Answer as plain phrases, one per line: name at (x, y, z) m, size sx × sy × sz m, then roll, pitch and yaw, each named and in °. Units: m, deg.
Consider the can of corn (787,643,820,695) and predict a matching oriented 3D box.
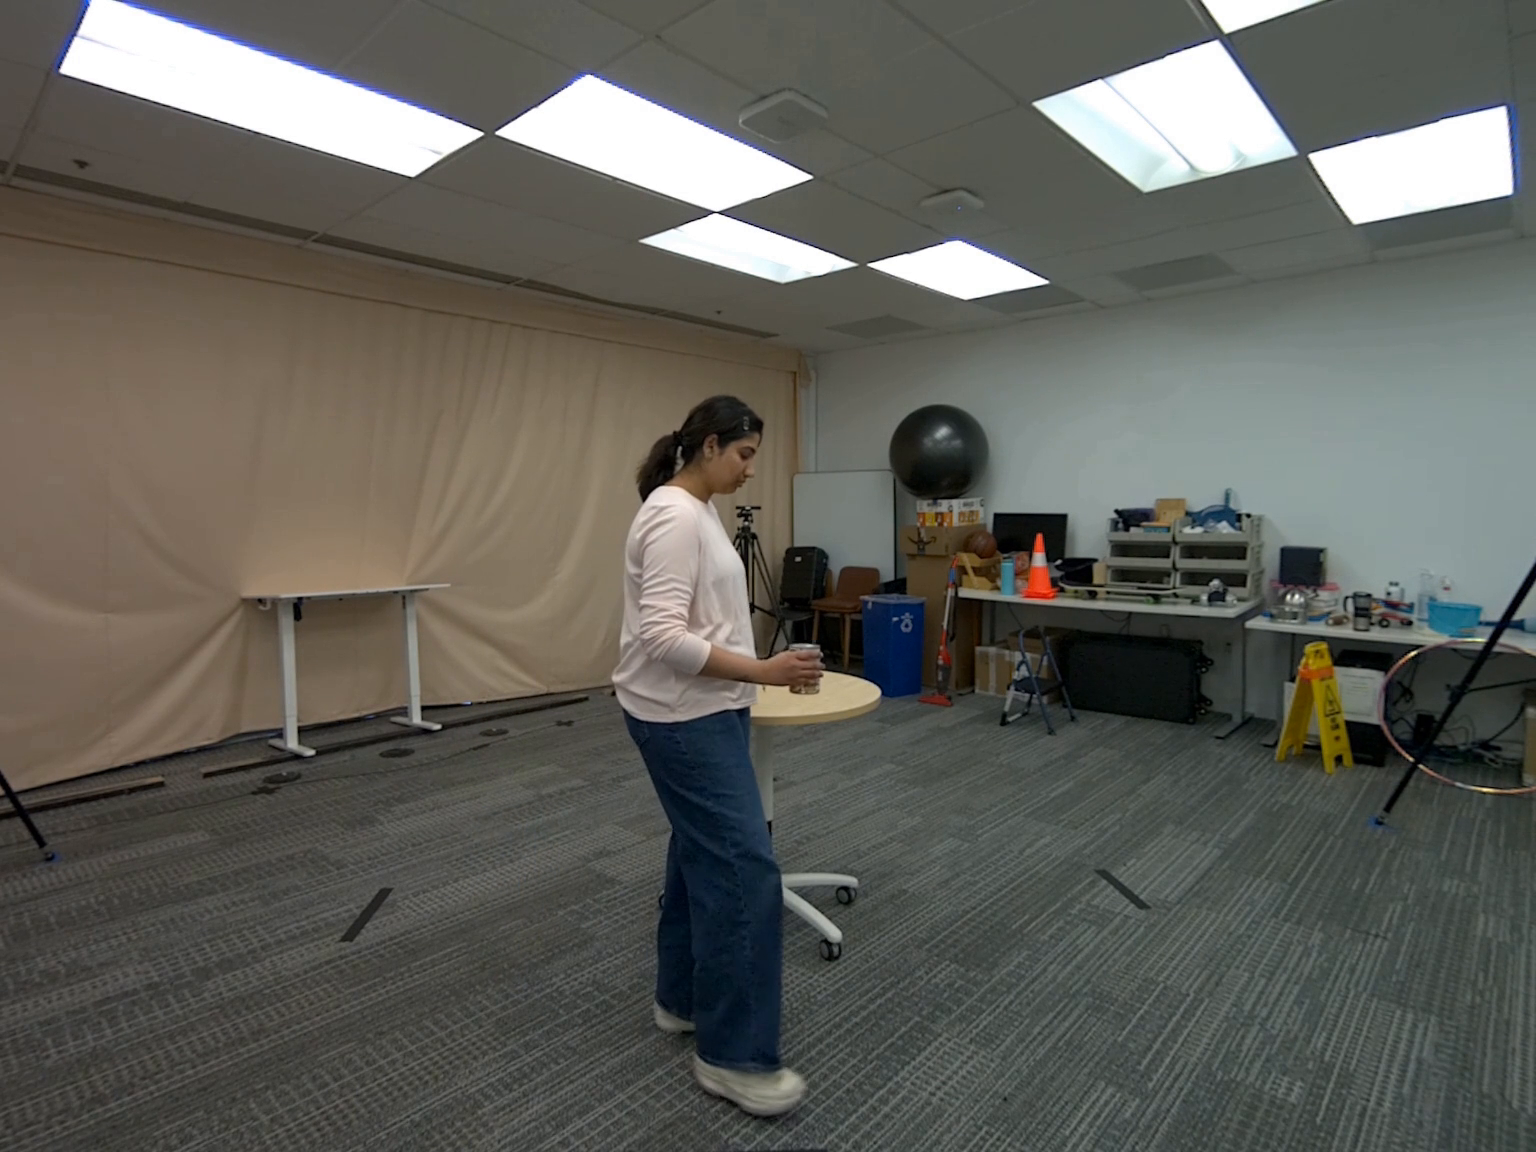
can of corn at (0.088, 0.227, 2.017) m, size 0.074 × 0.111 × 0.074 m, roll 2°, pitch 1°, yaw -2°
